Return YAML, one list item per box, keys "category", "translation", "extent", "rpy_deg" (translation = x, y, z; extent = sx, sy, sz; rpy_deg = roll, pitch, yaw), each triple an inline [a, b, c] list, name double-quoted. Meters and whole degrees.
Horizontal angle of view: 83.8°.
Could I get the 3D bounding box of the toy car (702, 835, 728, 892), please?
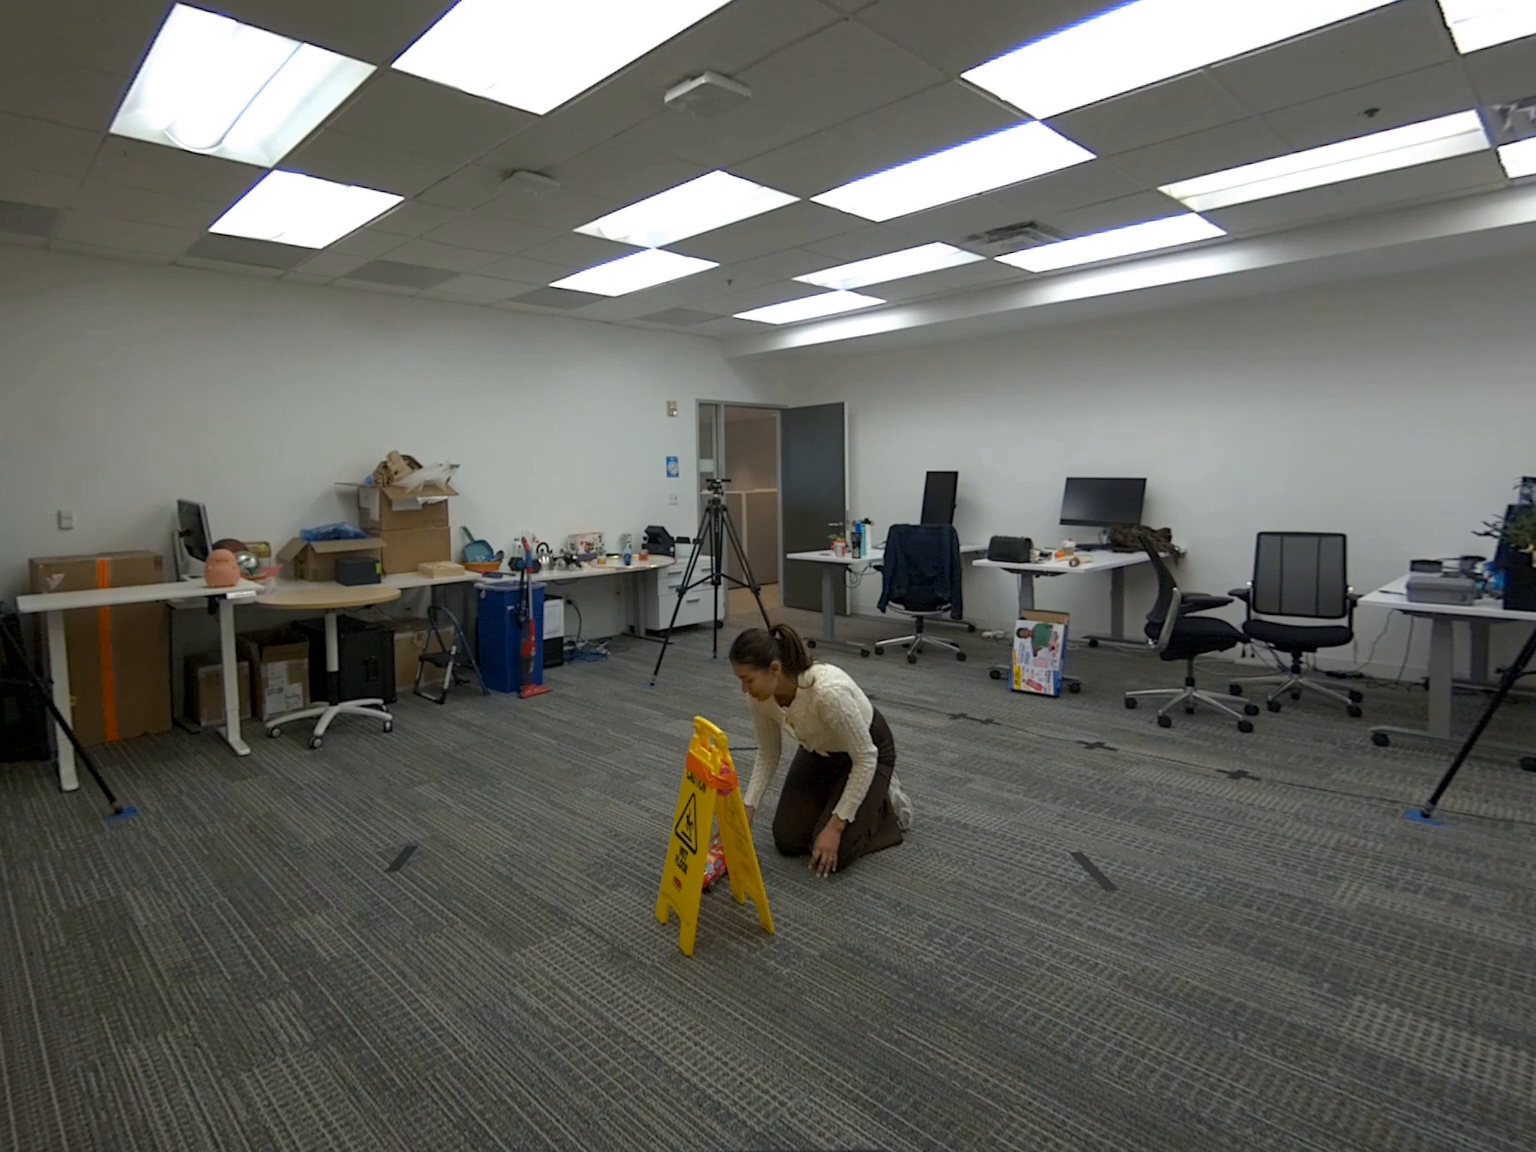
- category: "toy car"
  translation: [-0.193, 1.028, 3.005]
  extent: [0.133, 0.082, 0.254]
  rpy_deg: [0, 21, 20]
